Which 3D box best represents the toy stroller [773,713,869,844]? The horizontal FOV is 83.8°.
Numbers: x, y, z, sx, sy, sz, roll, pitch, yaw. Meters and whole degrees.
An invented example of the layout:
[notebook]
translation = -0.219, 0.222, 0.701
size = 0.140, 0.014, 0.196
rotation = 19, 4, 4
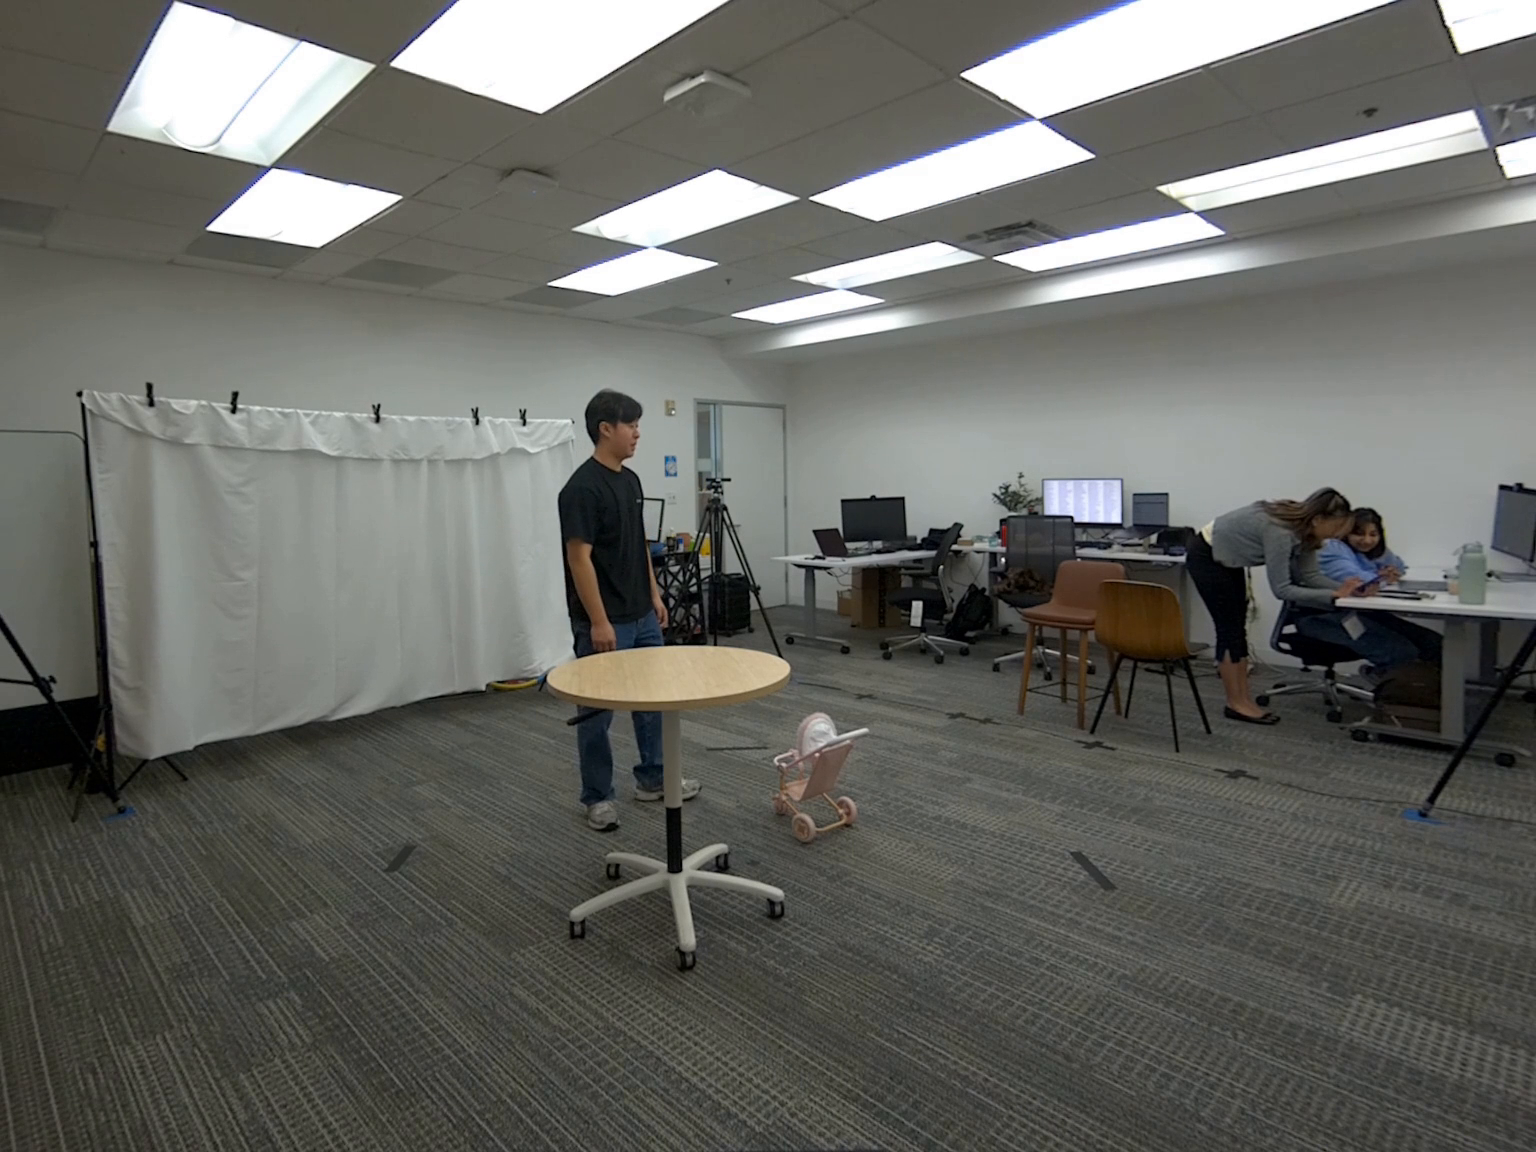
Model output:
[toy stroller]
translation = 0.185, 0.779, 3.396
size = 0.274, 0.528, 0.354
rotation = -4, 21, -38
